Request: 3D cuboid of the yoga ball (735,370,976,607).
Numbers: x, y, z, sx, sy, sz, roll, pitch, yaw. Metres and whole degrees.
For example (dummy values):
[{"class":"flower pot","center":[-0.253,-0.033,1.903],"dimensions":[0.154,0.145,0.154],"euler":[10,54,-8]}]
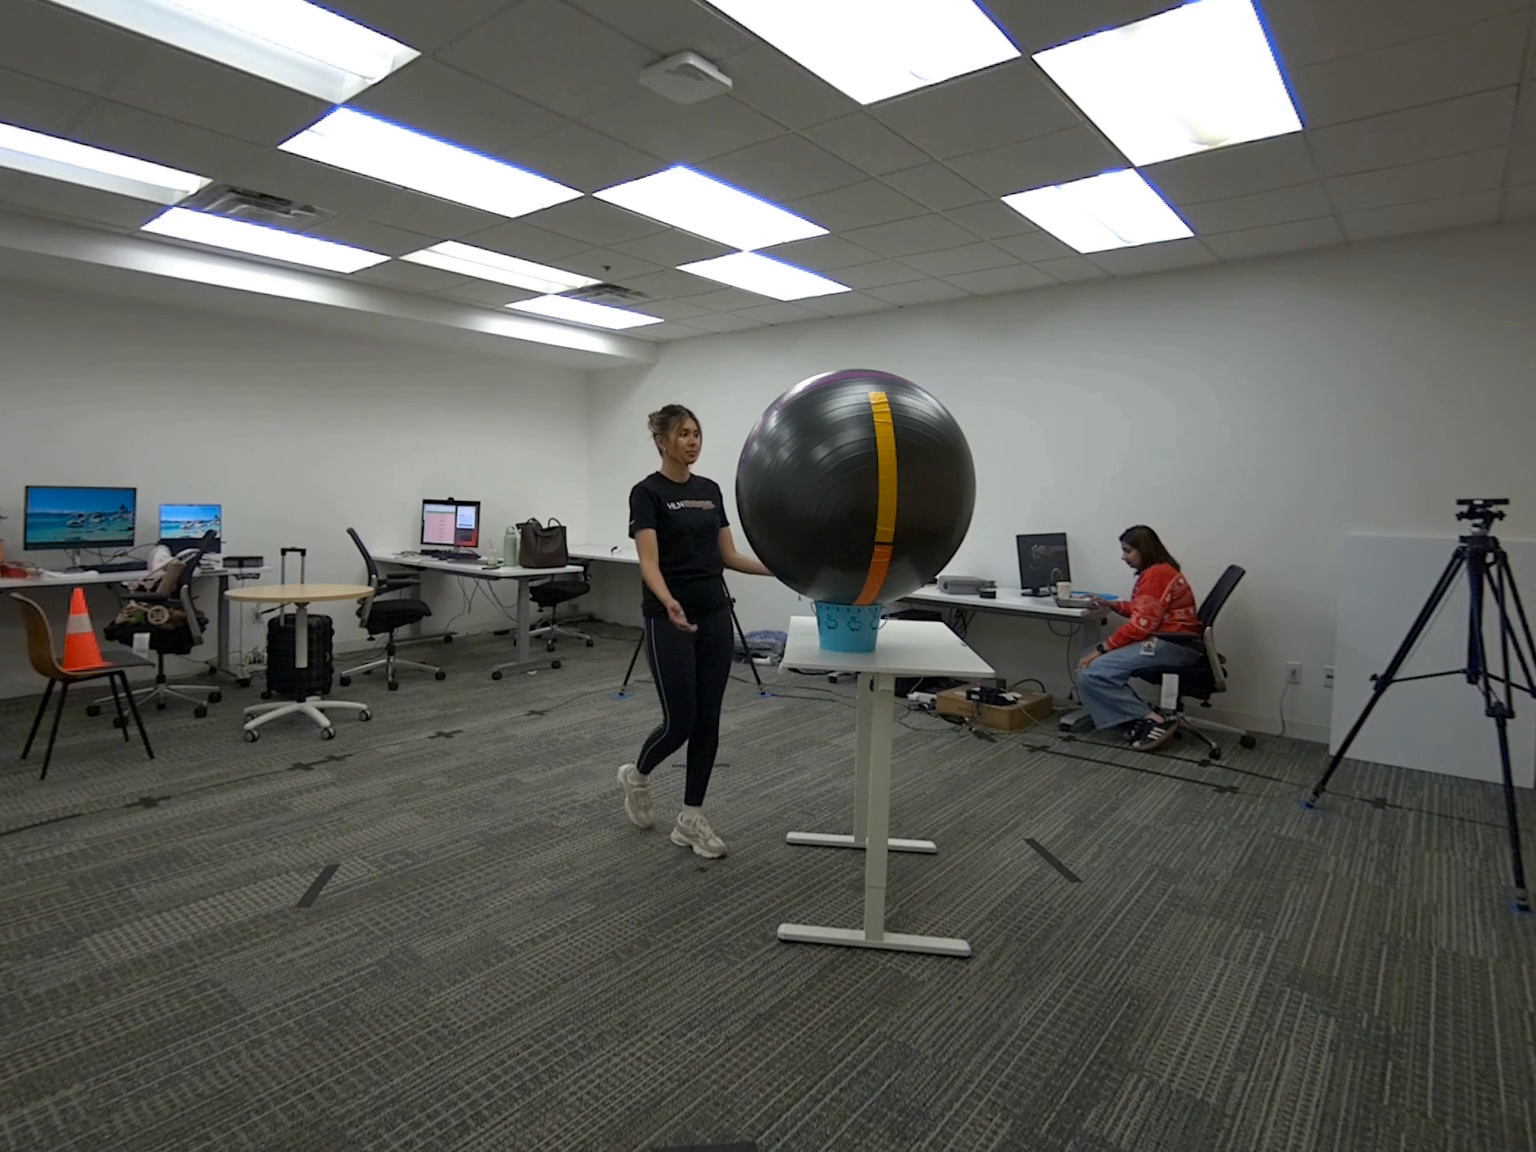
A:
[{"class":"yoga ball","center":[0.266,-0.276,2.726],"dimensions":[0.757,0.756,0.762],"euler":[1,4,-2]}]
